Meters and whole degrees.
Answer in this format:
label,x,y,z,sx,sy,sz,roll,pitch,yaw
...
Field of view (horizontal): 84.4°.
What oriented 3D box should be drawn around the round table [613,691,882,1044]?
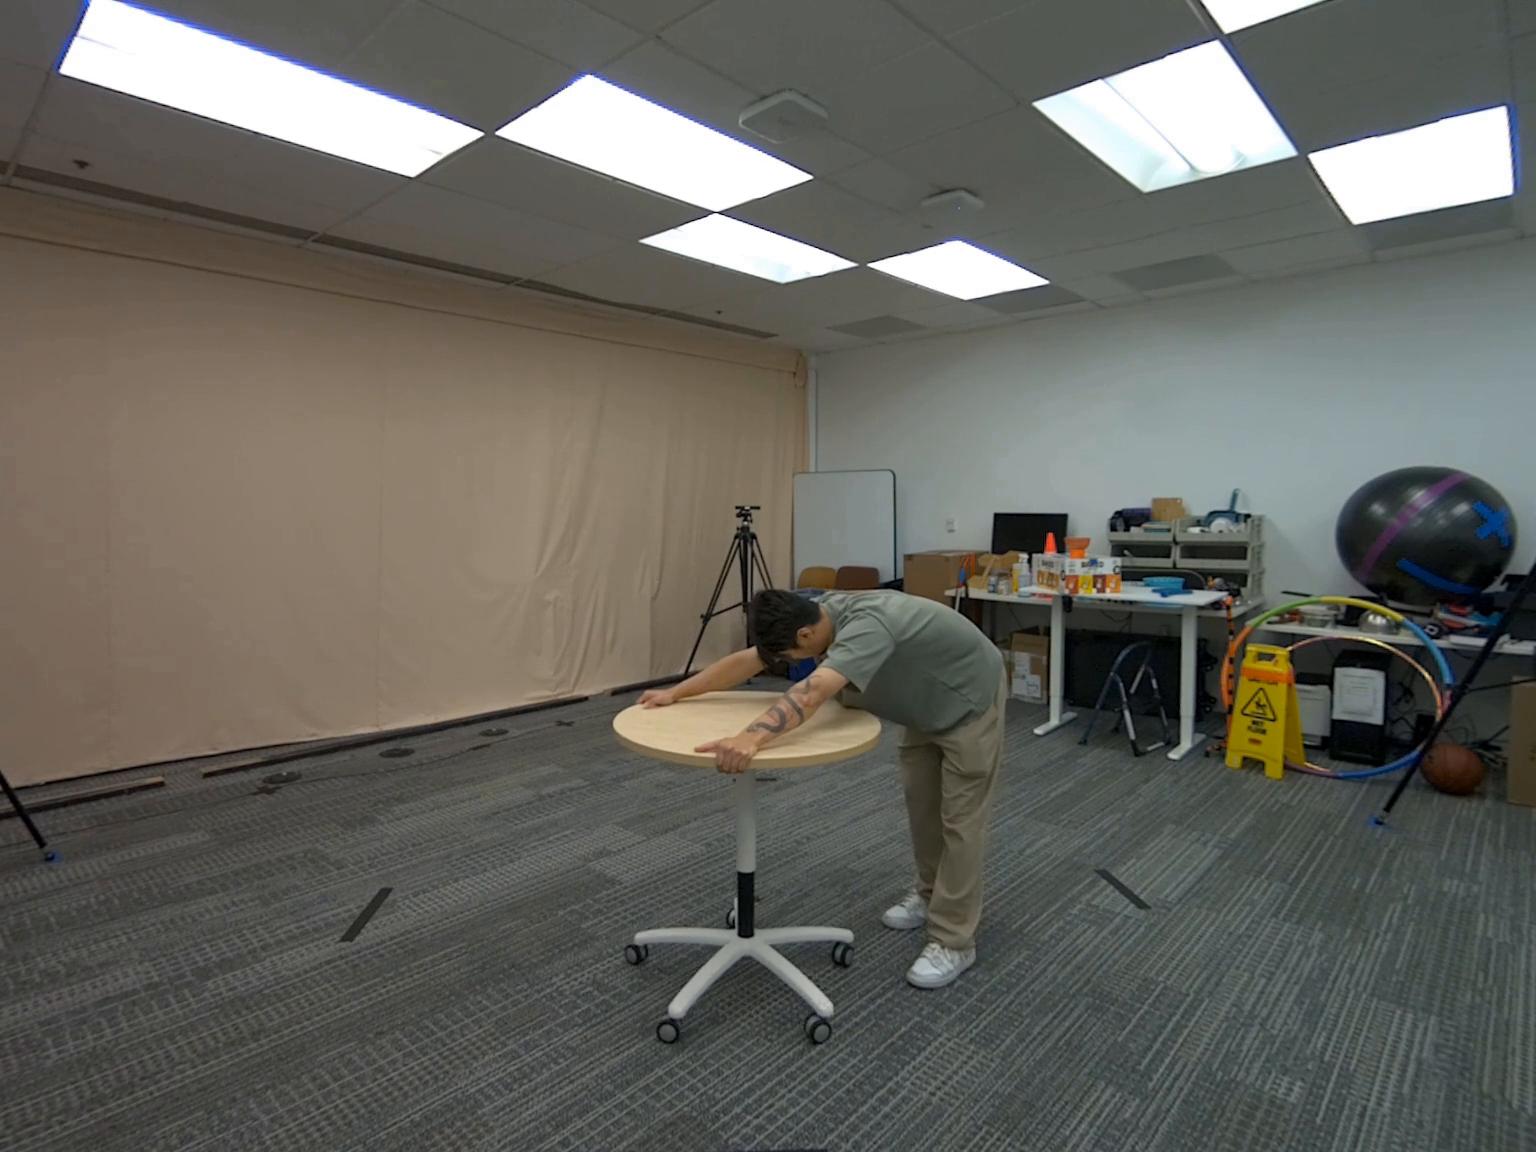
label,x,y,z,sx,sy,sz,roll,pitch,yaw
round table,-0.060,0.806,2.435,0.784,0.785,0.787,0,3,-2
